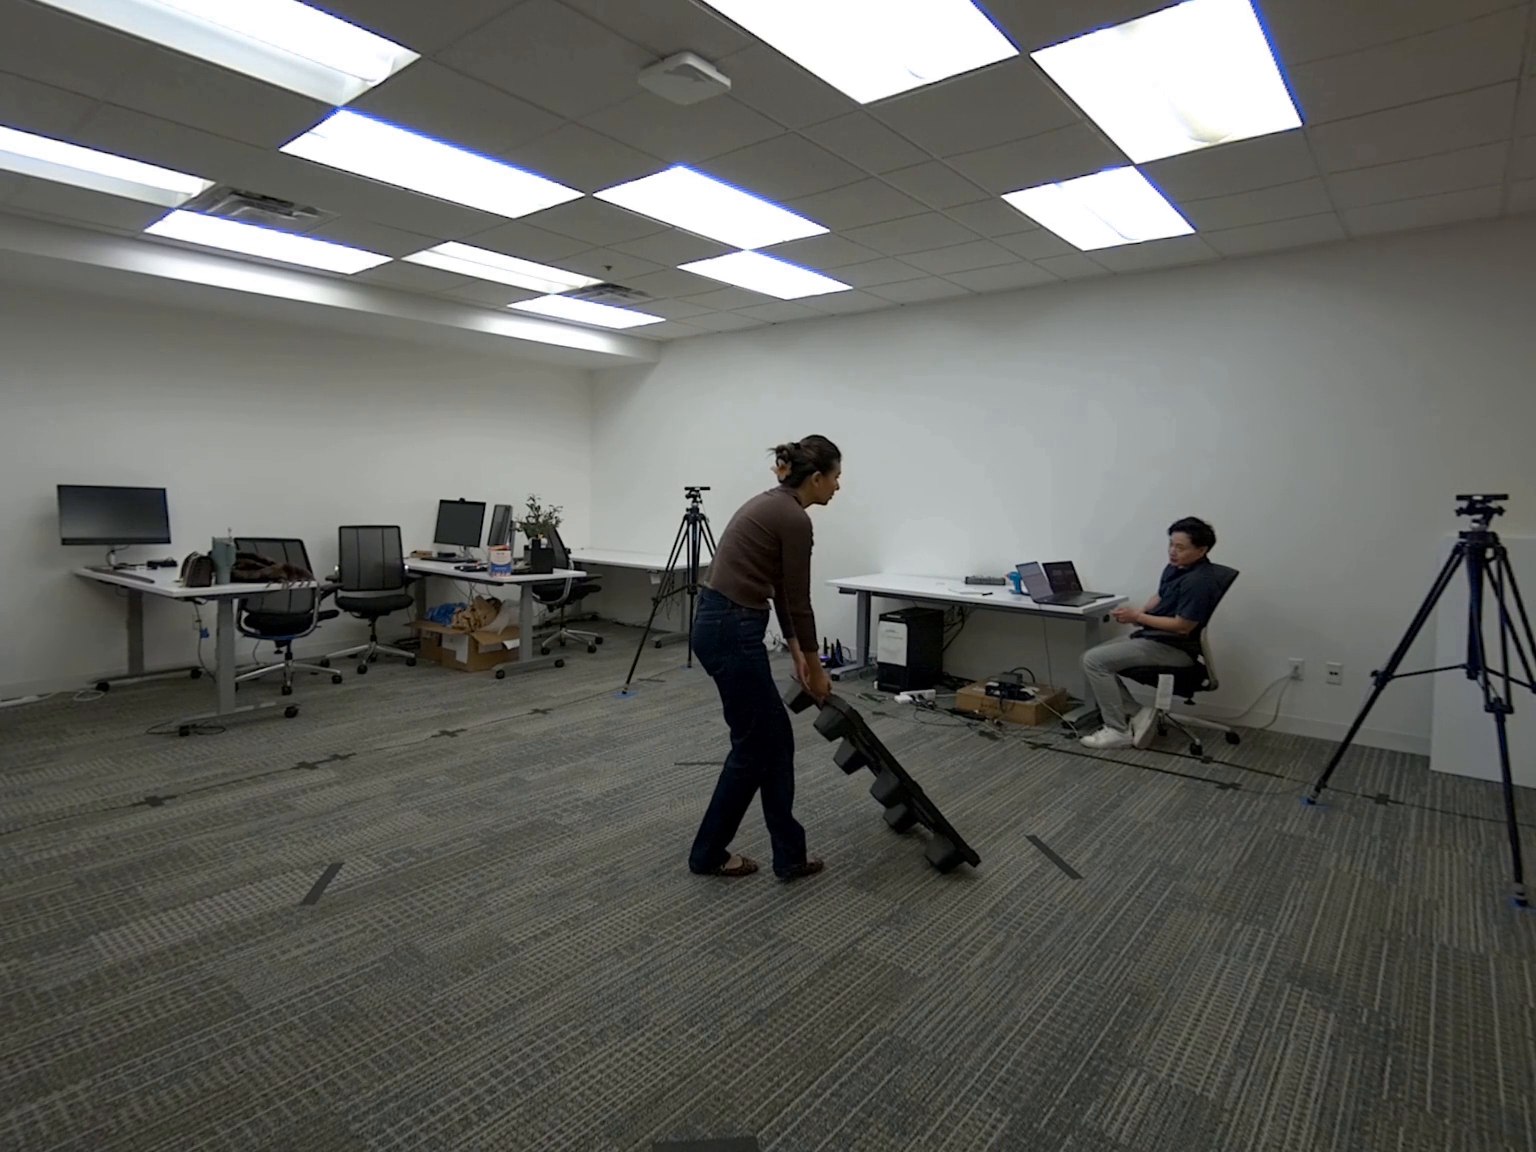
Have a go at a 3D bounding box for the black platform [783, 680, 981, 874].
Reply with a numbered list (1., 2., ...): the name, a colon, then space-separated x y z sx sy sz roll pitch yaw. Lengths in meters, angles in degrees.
1. black platform: 0.382 0.736 3.268 0.143 0.793 0.616 -41 12 -10
